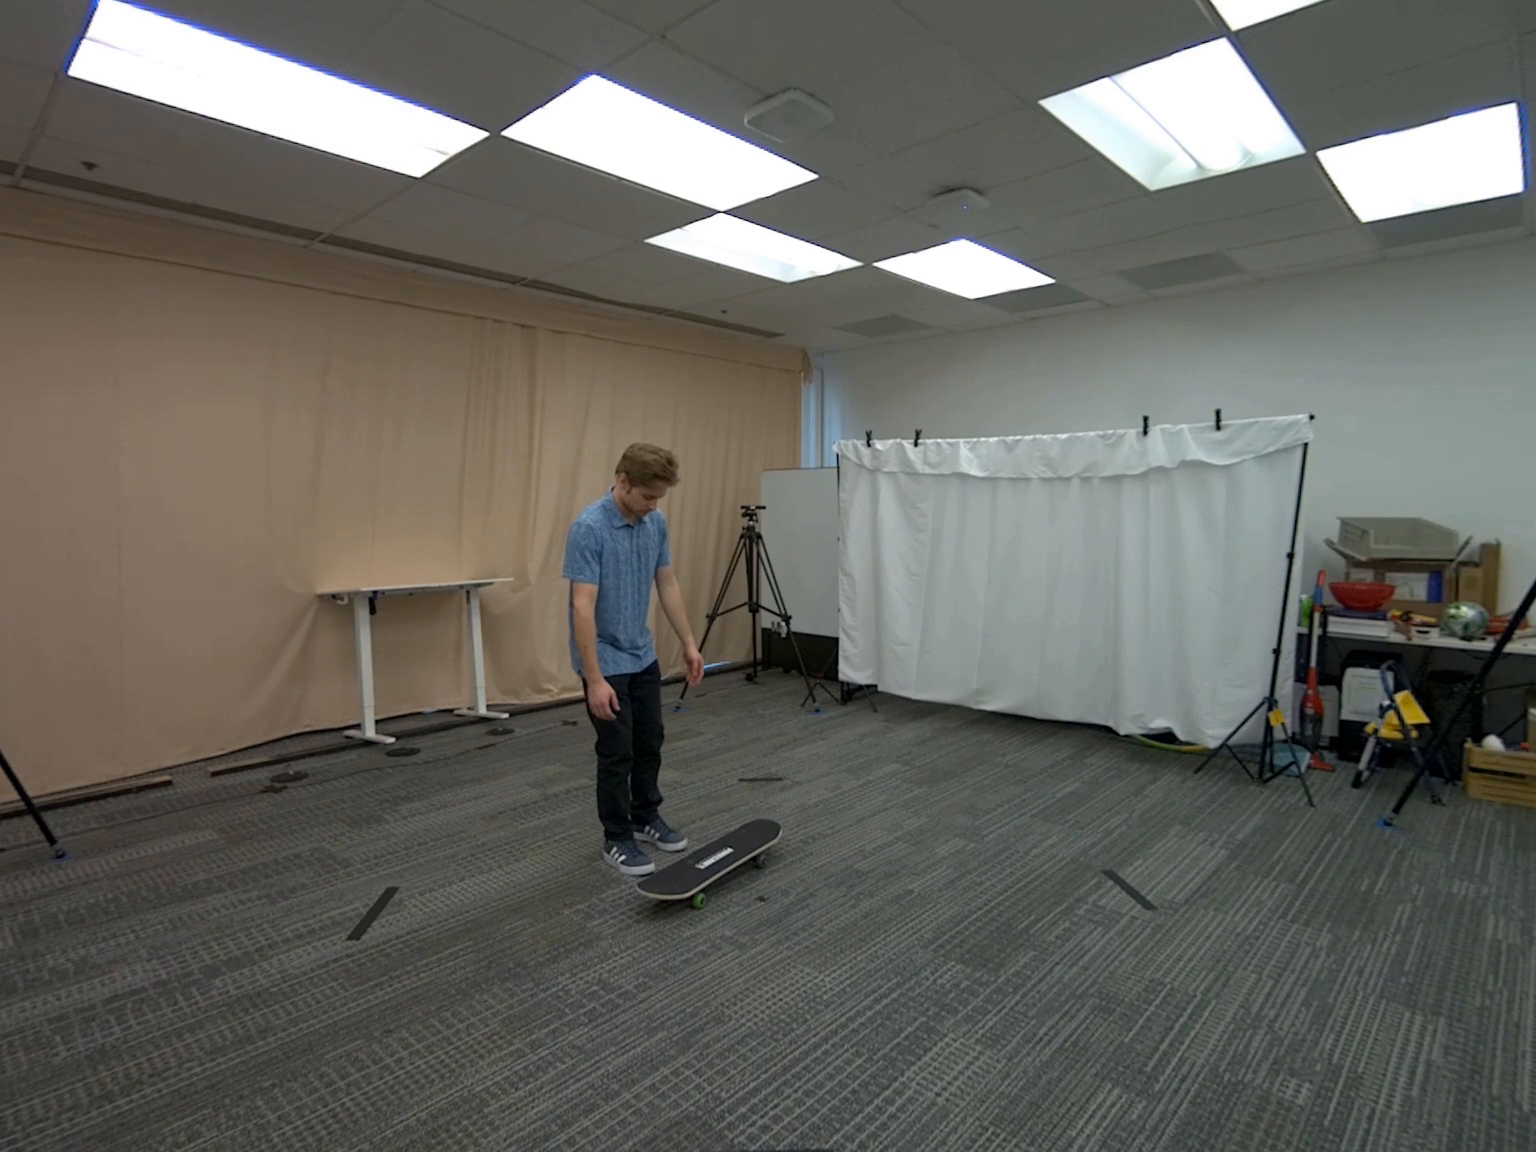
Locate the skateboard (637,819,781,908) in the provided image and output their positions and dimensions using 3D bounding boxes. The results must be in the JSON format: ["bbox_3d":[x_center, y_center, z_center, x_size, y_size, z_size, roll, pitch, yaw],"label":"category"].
[{"bbox_3d":[-0.198,1.078,3.120,0.199,0.110,0.763,2,5,34],"label":"skateboard"}]
